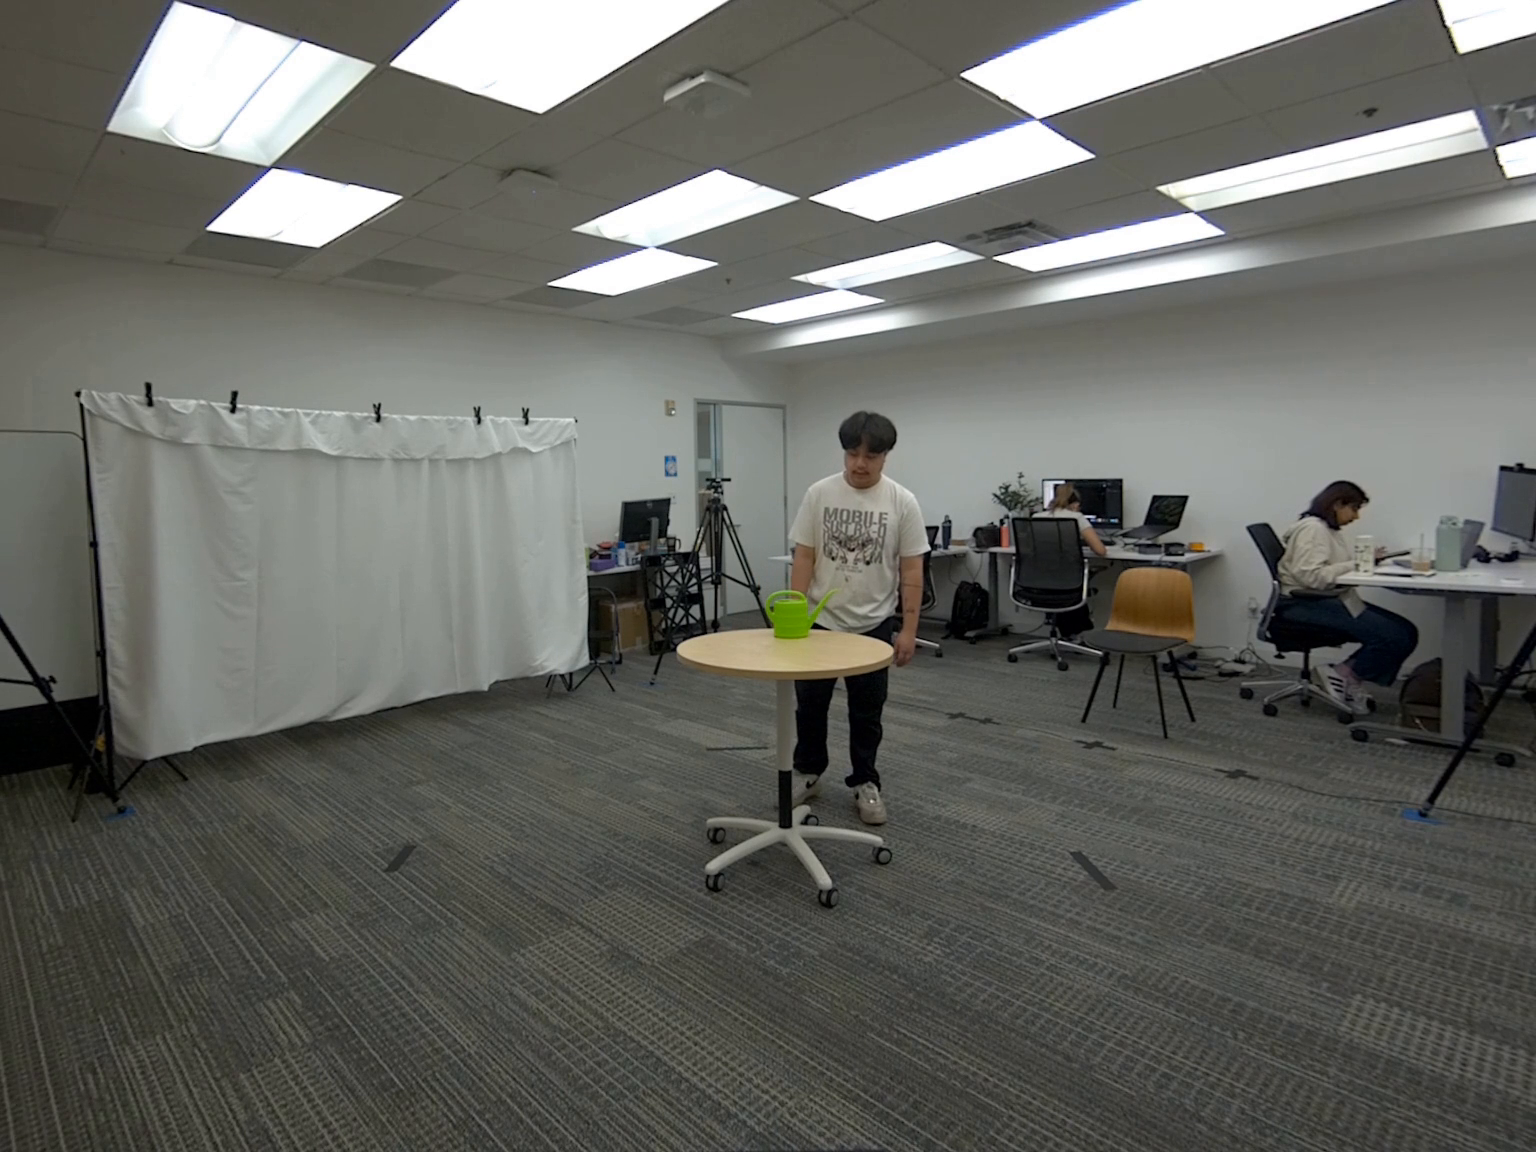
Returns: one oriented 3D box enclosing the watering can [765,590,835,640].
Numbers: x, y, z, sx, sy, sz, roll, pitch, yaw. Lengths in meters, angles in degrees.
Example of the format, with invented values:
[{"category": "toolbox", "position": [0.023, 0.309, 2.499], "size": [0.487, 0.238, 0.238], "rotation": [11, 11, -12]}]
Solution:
[{"category": "watering can", "position": [0.137, 0.147, 3.246], "size": [0.280, 0.176, 0.098], "rotation": [-1, 4, 7]}]
